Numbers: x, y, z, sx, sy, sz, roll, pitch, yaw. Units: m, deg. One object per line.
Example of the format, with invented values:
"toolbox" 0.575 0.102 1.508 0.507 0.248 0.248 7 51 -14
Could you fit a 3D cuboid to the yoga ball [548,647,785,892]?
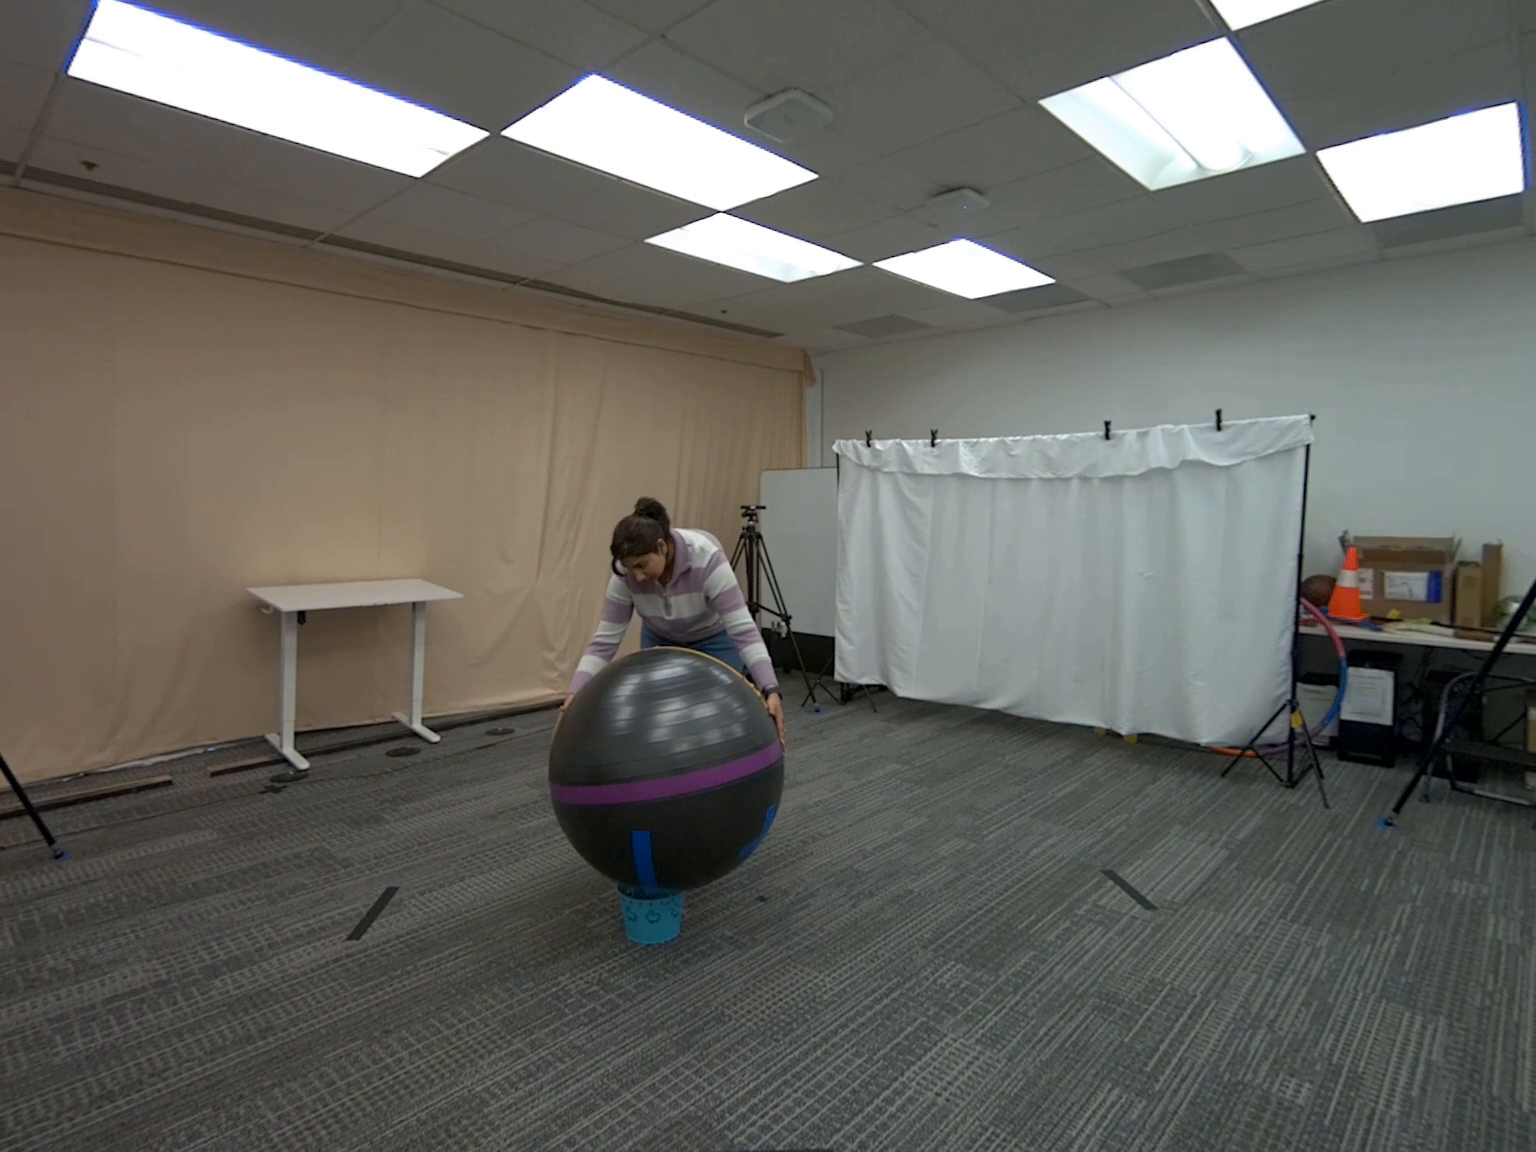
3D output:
"yoga ball" -0.322 0.615 2.729 0.757 0.756 0.760 0 4 -2
